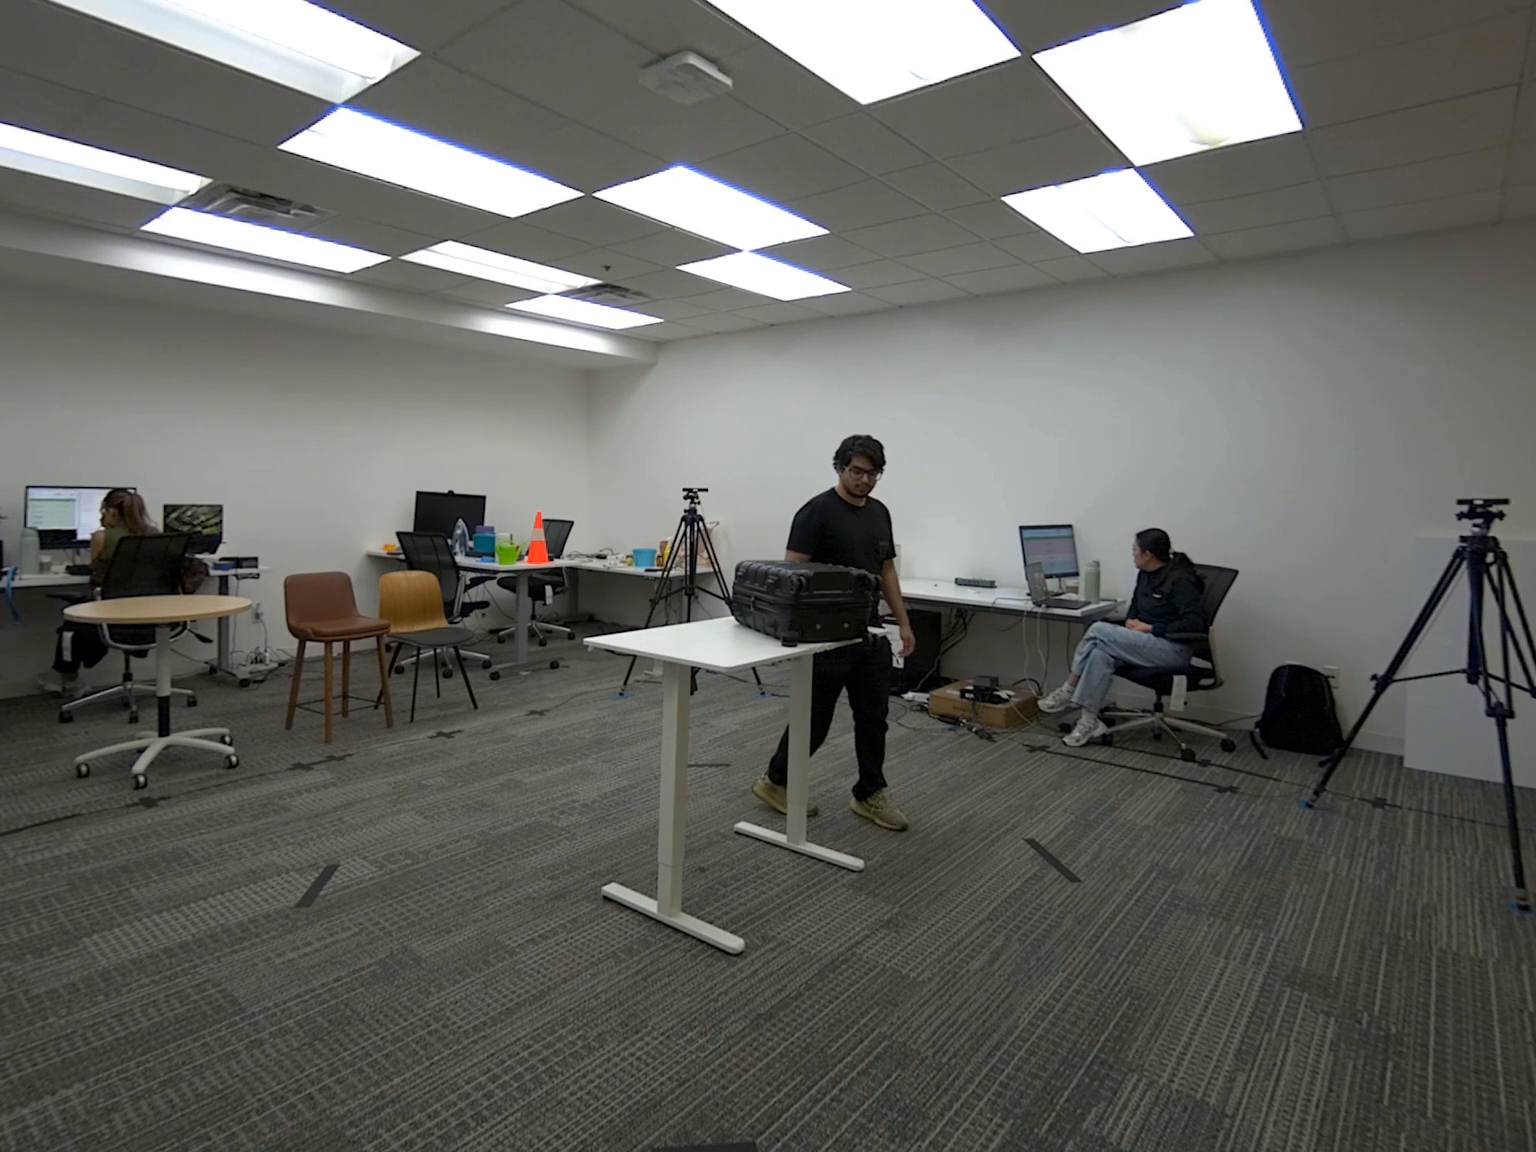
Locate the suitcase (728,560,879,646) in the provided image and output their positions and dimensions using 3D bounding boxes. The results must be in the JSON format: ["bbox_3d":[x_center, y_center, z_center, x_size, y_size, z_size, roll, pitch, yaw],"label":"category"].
[{"bbox_3d":[0.105,0.084,3.064,0.367,0.247,0.564,0,5,-23],"label":"suitcase"}]
